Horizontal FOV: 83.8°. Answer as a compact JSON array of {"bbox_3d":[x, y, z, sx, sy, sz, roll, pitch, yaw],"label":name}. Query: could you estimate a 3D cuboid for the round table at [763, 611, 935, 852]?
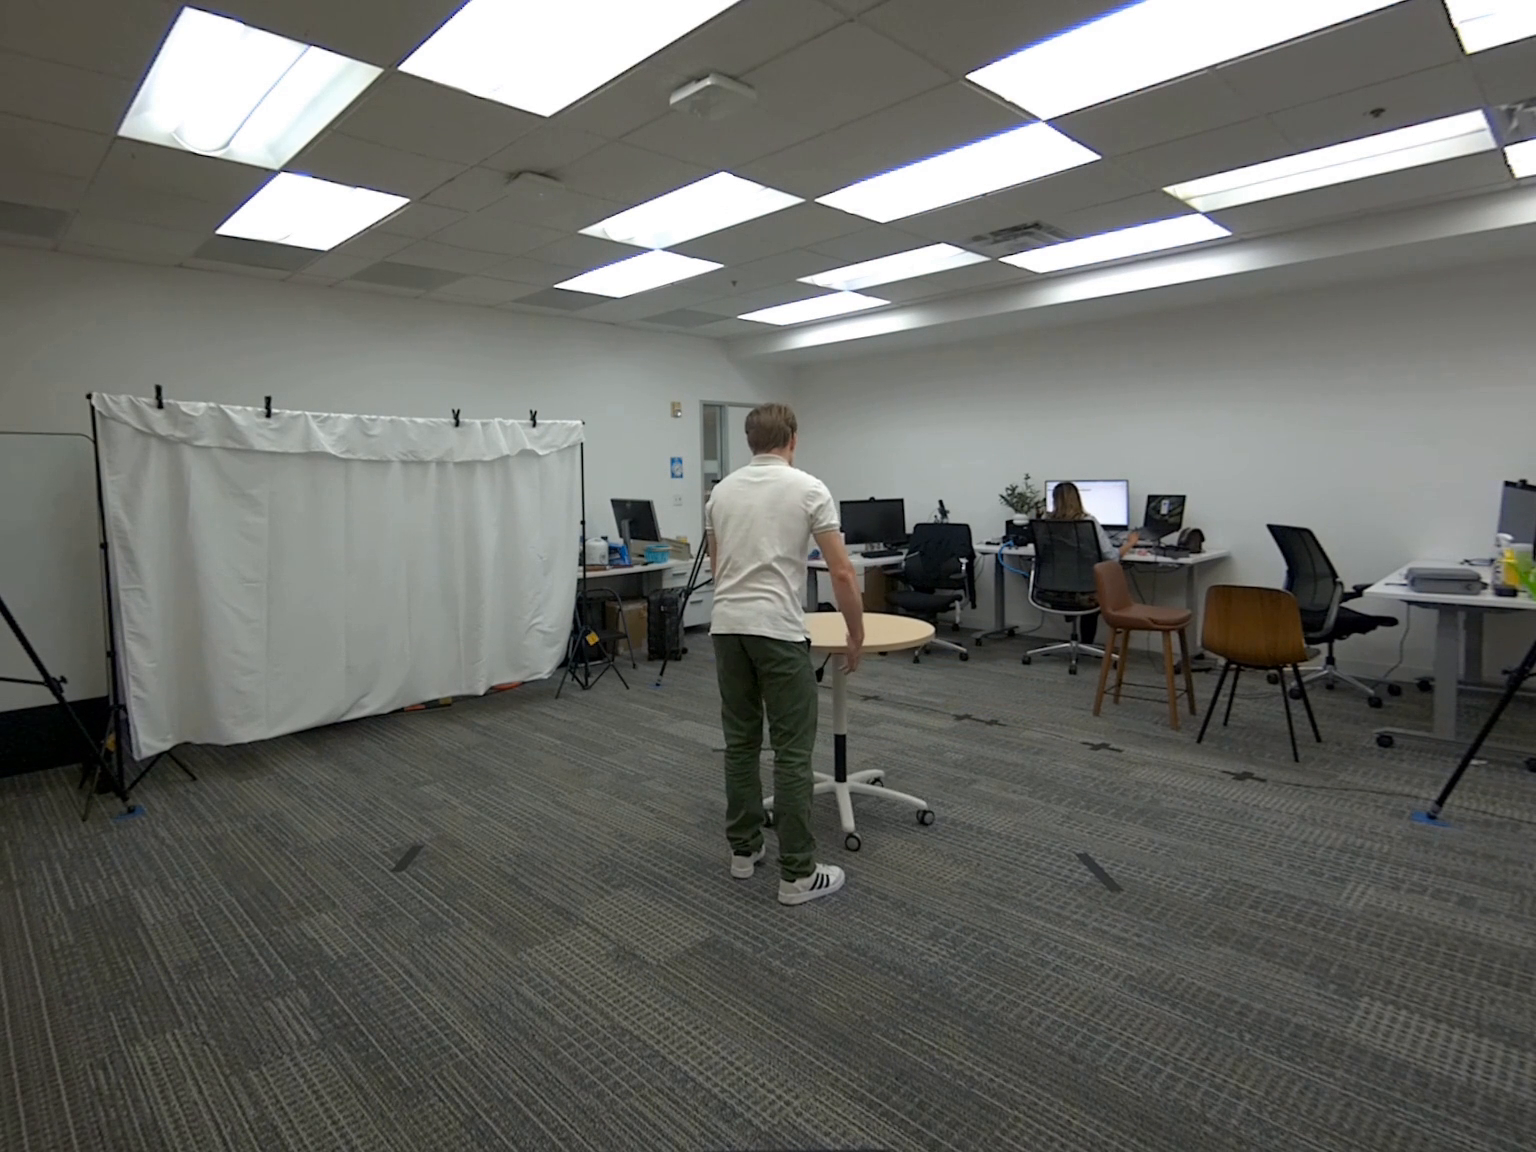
[{"bbox_3d":[0.307,0.606,3.533,0.763,0.791,0.768,-1,5,-2],"label":"round table"}]
